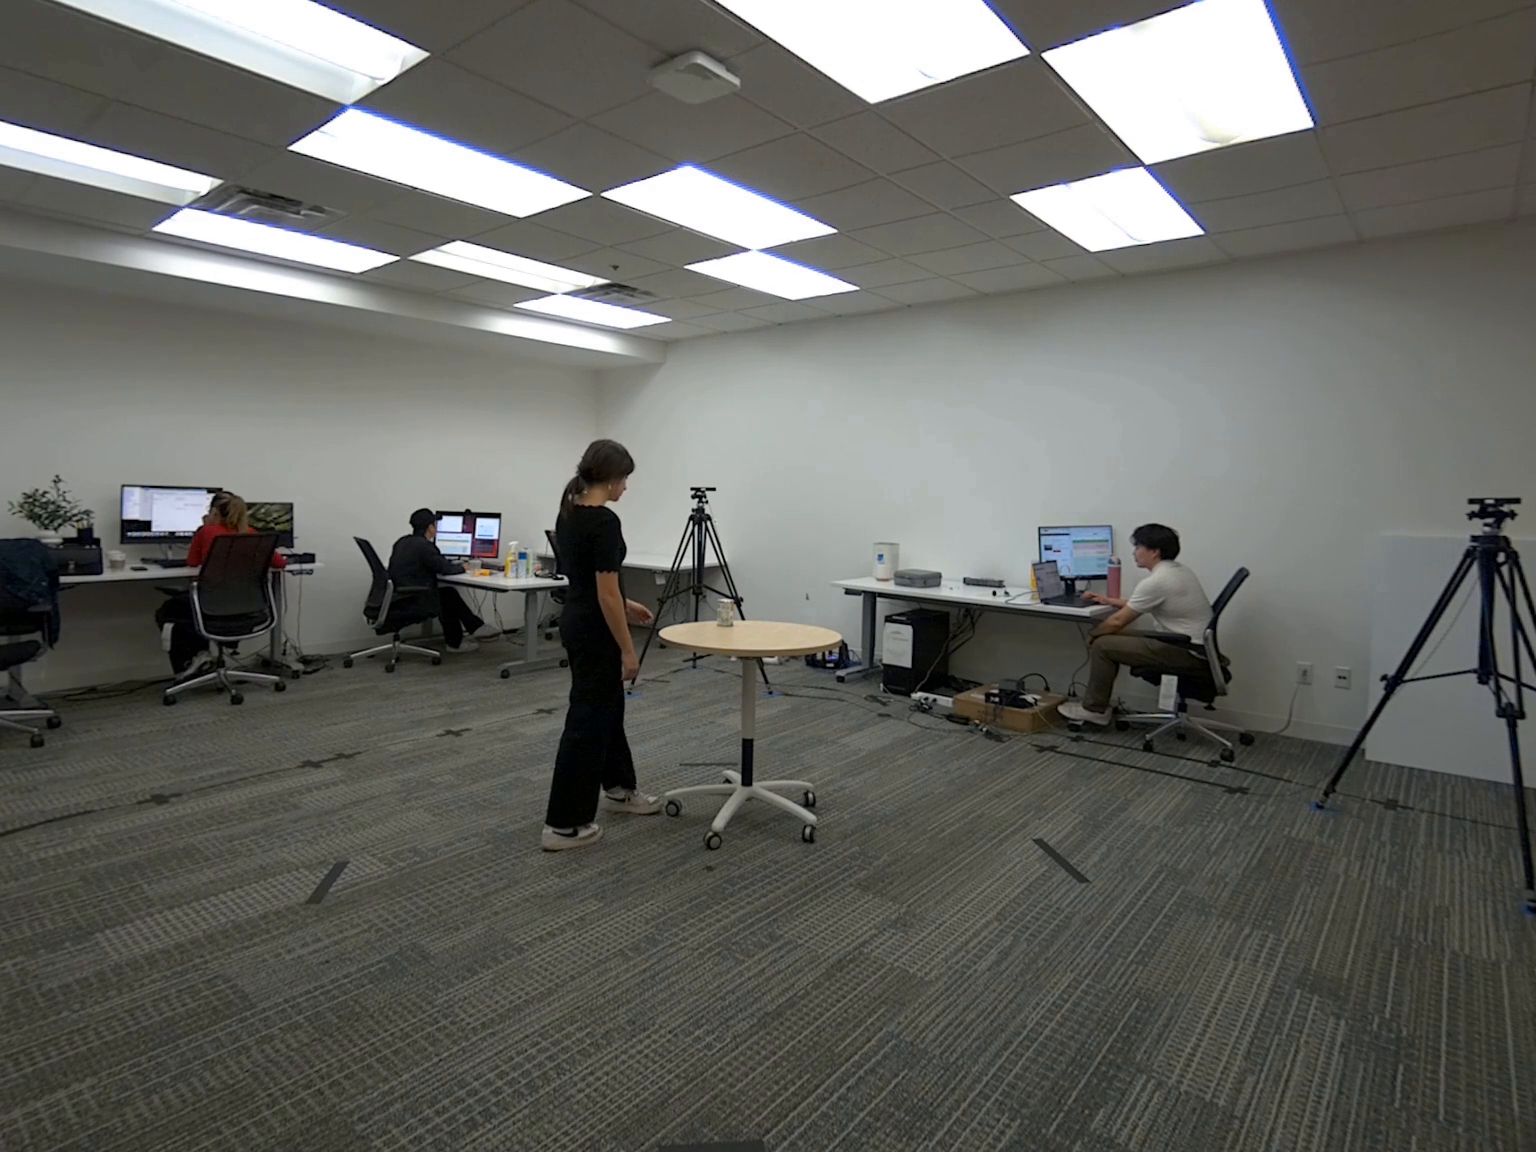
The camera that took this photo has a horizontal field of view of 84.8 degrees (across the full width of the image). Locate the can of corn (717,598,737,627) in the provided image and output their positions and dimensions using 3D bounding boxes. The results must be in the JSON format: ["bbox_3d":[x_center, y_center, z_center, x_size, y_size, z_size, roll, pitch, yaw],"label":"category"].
[{"bbox_3d":[-0.209,0.162,3.792,0.074,0.111,0.074,3,3,-2],"label":"can of corn"}]
